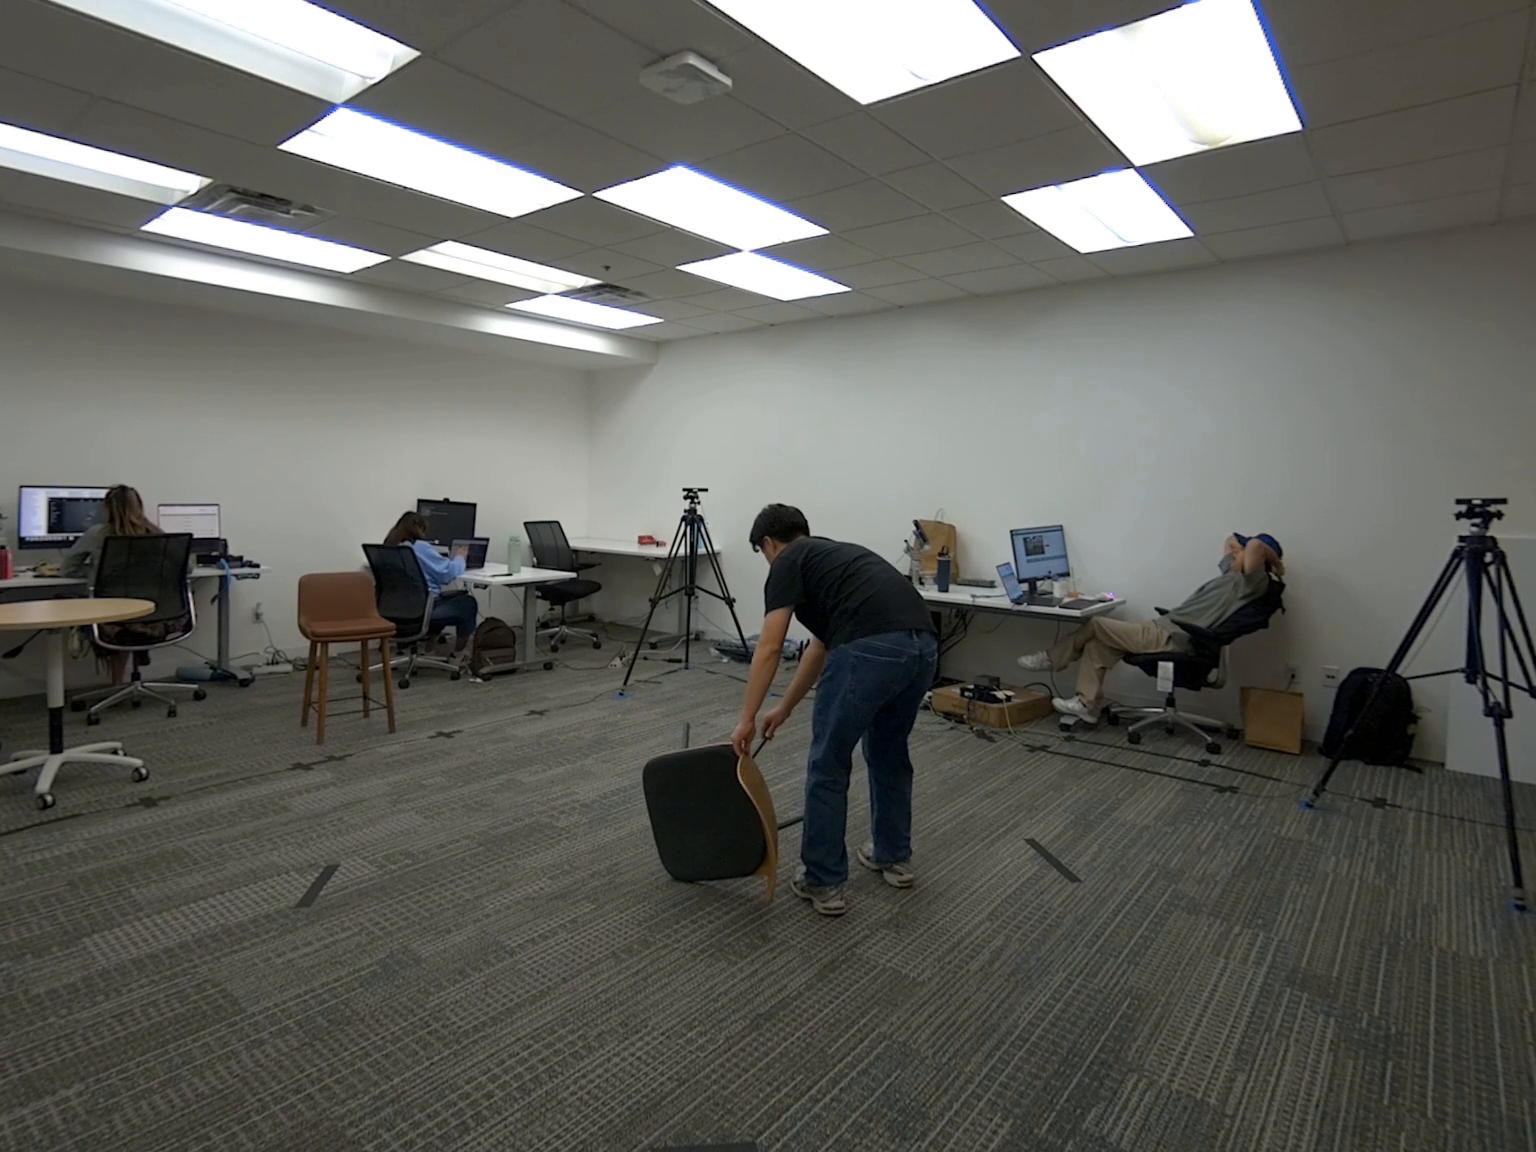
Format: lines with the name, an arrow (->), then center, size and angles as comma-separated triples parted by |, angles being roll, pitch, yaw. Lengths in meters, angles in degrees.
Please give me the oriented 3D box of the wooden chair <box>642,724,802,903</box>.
wooden chair -> -0.182, 0.822, 3.013 | 0.528, 0.477, 0.872 | -12, 4, 10
